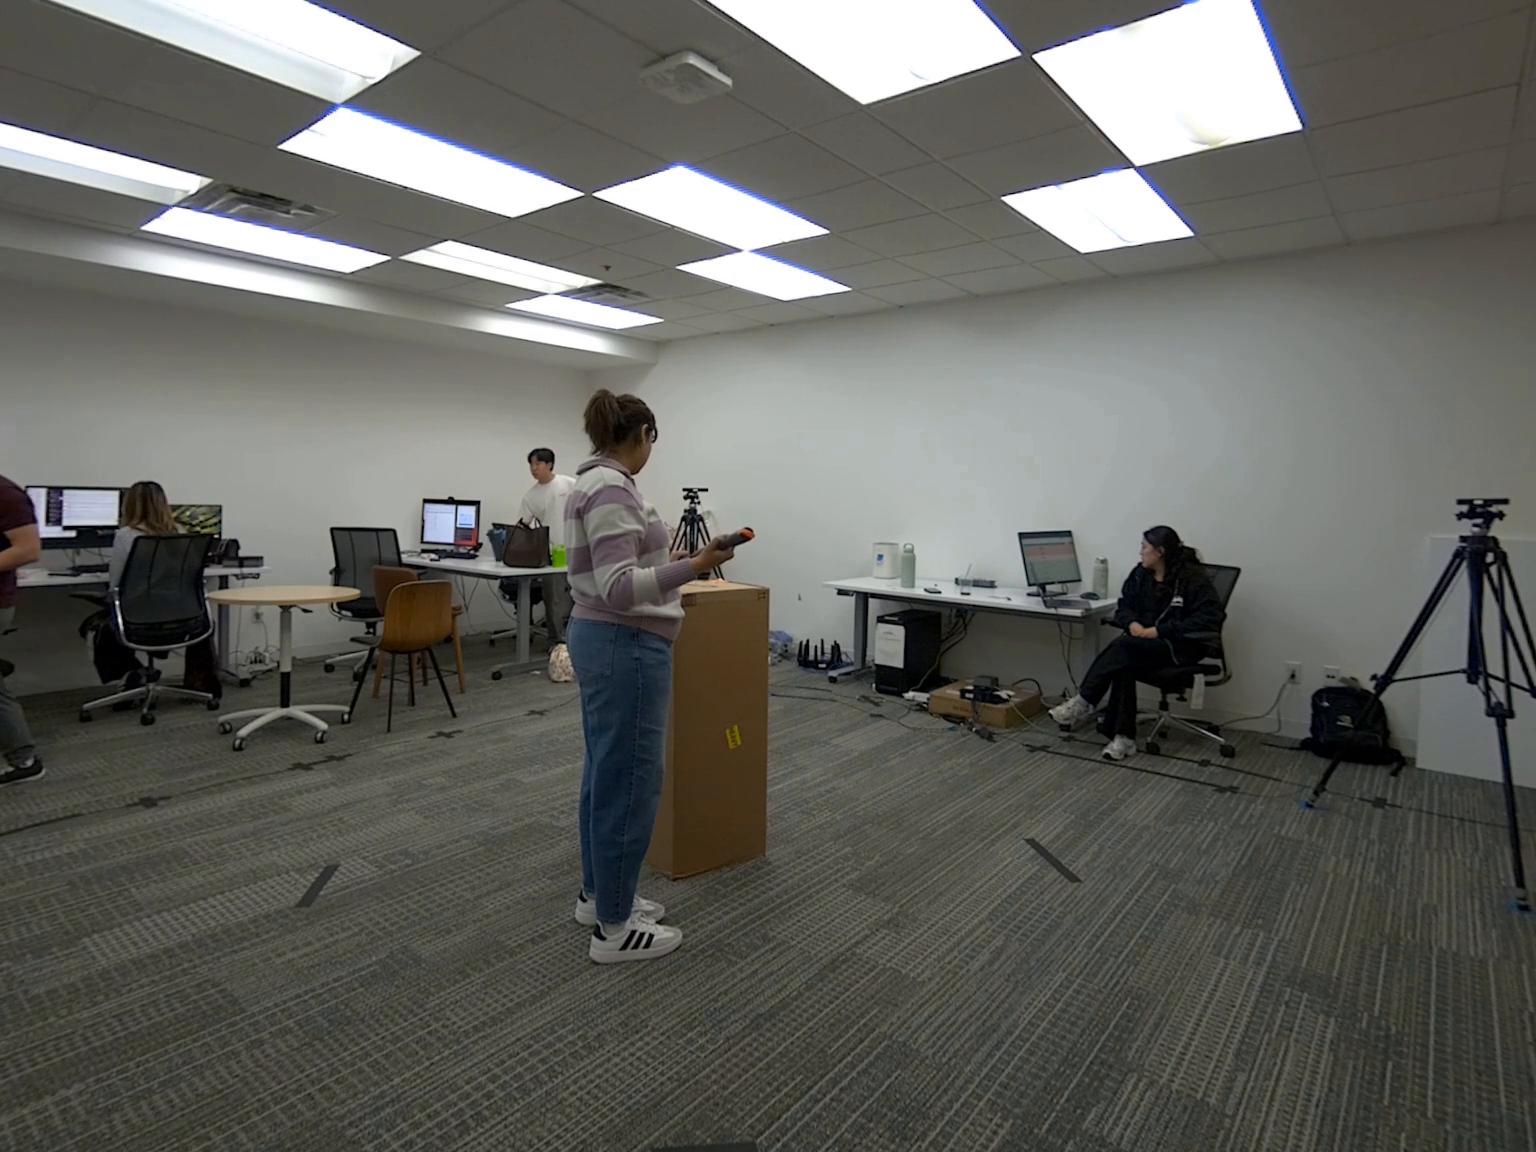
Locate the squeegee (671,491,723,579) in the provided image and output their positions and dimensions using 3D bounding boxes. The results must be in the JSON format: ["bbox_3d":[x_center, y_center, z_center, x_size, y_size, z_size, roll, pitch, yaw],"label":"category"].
[{"bbox_3d":[-0.235,-0.068,2.722,0.433,0.053,1.544,-5,-4,-12],"label":"squeegee"}]
